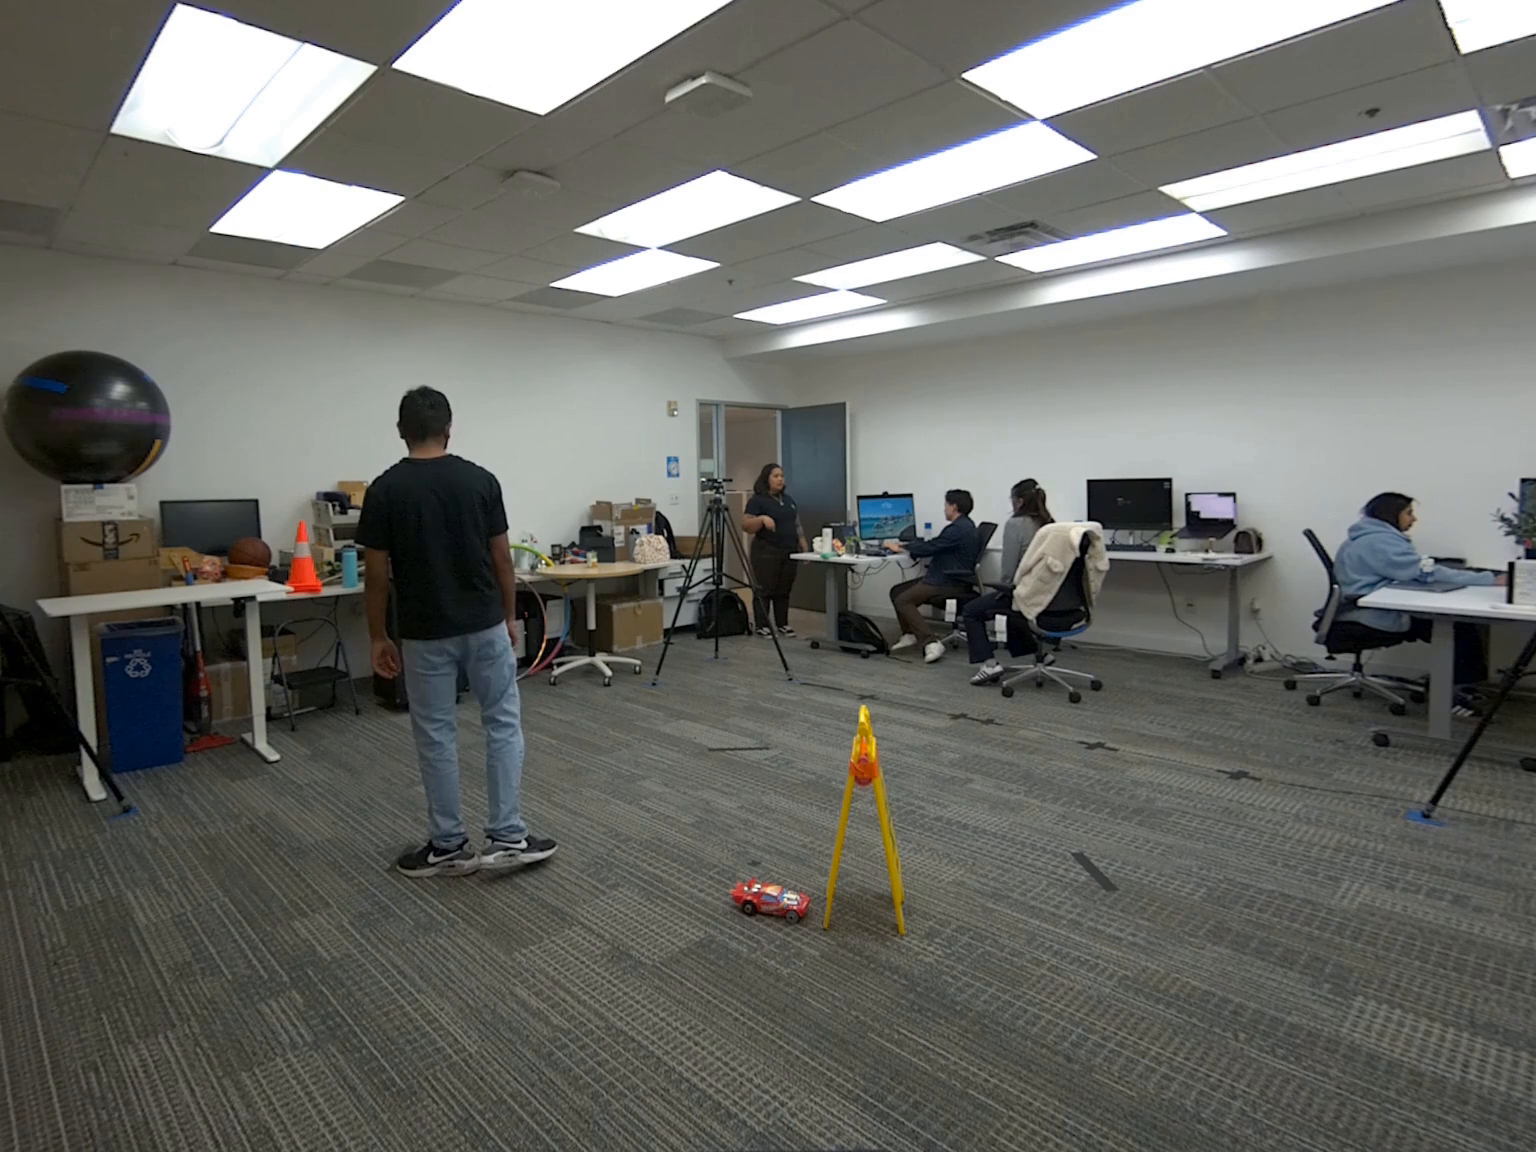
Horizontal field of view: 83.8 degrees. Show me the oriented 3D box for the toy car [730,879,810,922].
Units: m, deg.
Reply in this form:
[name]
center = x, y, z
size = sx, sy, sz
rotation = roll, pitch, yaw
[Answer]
[toy car]
center = 0.009, 1.050, 2.770
size = 0.260, 0.082, 0.128
rotation = 13, 12, 18
